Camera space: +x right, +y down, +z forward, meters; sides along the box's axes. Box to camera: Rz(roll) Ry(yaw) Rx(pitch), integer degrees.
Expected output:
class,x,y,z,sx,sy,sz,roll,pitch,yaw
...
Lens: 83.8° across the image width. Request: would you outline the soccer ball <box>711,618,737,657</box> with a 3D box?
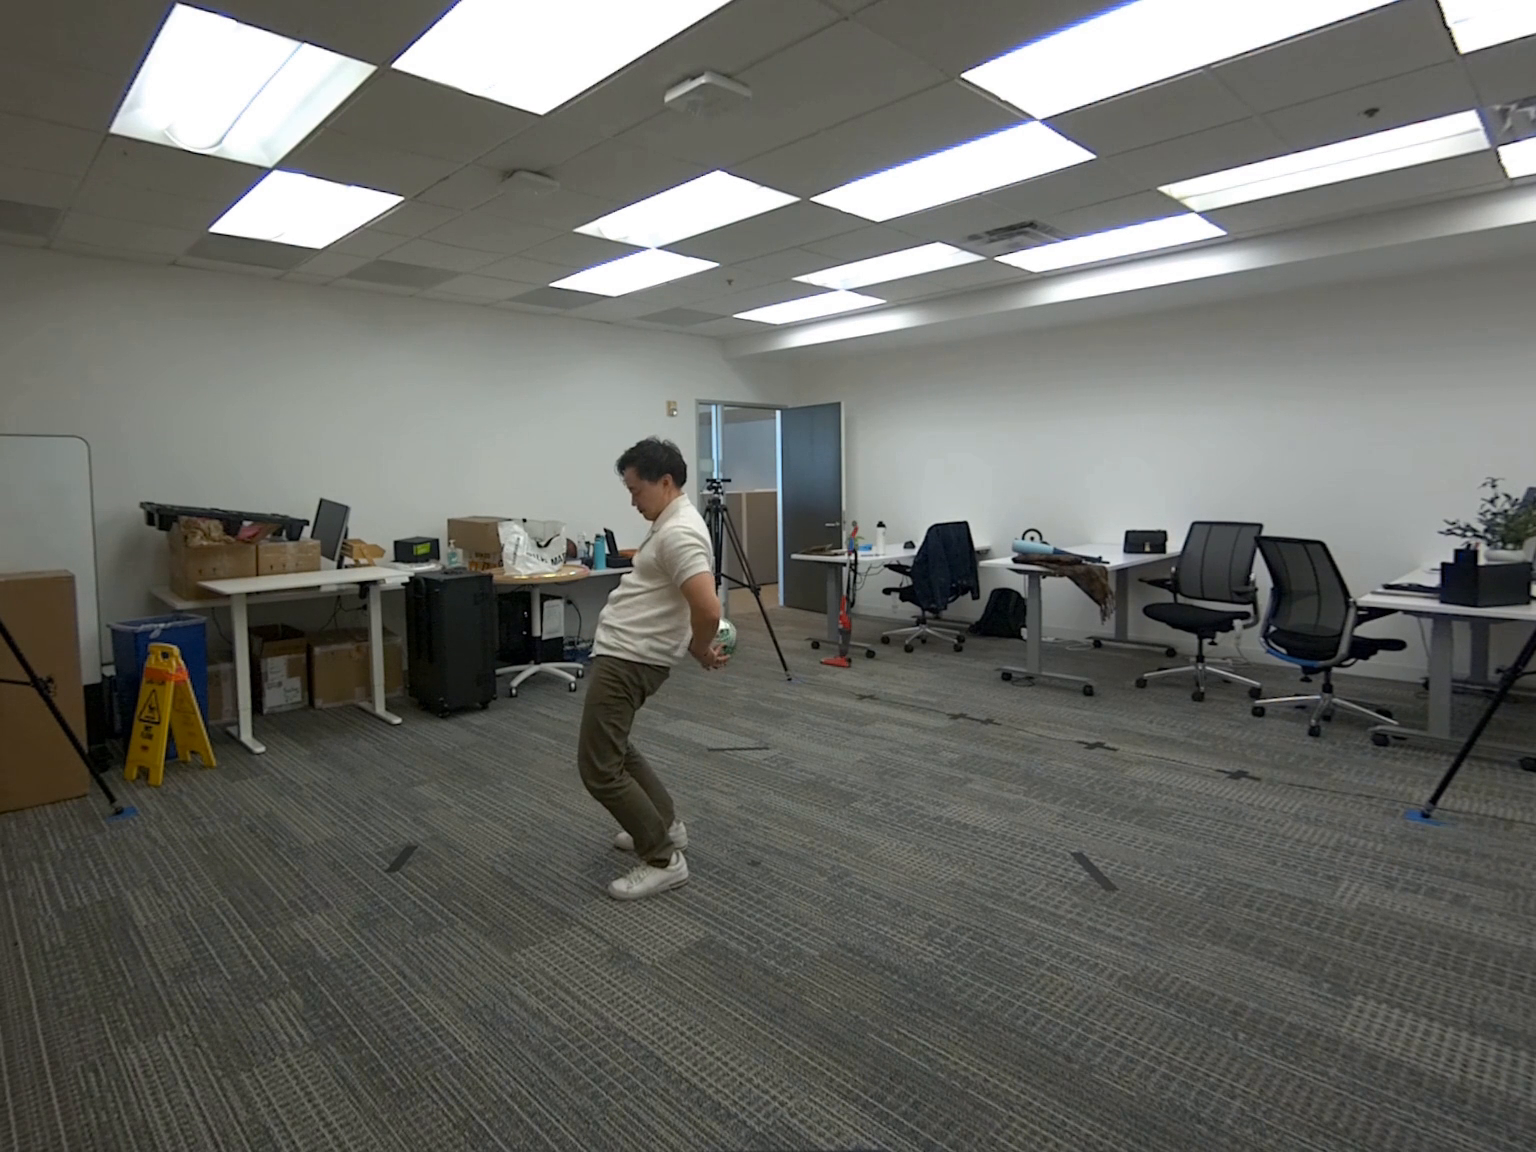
class,x,y,z,sx,sy,sz,roll,pitch,yaw
soccer ball,-0.206,0.228,3.125,0.187,0.187,0.188,-1,5,-2
